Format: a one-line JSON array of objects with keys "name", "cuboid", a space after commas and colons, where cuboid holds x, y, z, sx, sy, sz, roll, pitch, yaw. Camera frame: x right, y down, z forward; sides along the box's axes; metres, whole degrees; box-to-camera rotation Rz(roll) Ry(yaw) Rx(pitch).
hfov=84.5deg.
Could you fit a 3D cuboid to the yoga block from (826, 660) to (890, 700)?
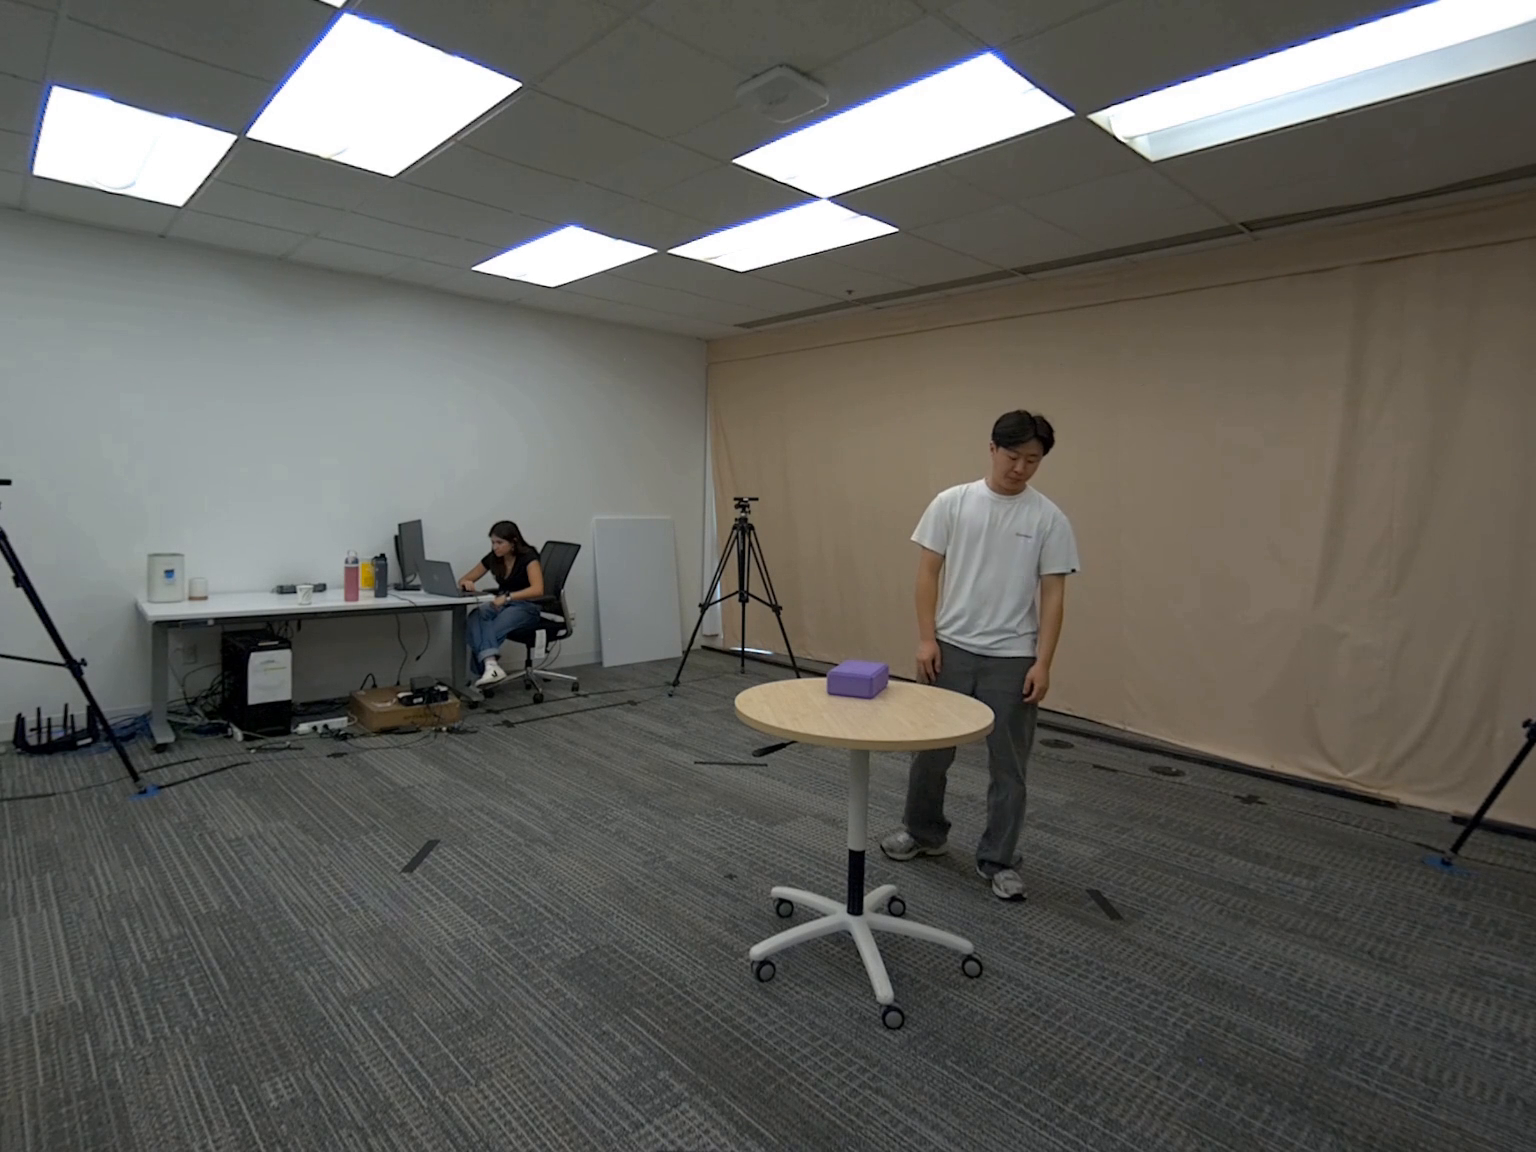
[{"name": "yoga block", "cuboid": [0.288, 0.334, 2.715, 0.151, 0.076, 0.226, 3, 6, 21]}]
